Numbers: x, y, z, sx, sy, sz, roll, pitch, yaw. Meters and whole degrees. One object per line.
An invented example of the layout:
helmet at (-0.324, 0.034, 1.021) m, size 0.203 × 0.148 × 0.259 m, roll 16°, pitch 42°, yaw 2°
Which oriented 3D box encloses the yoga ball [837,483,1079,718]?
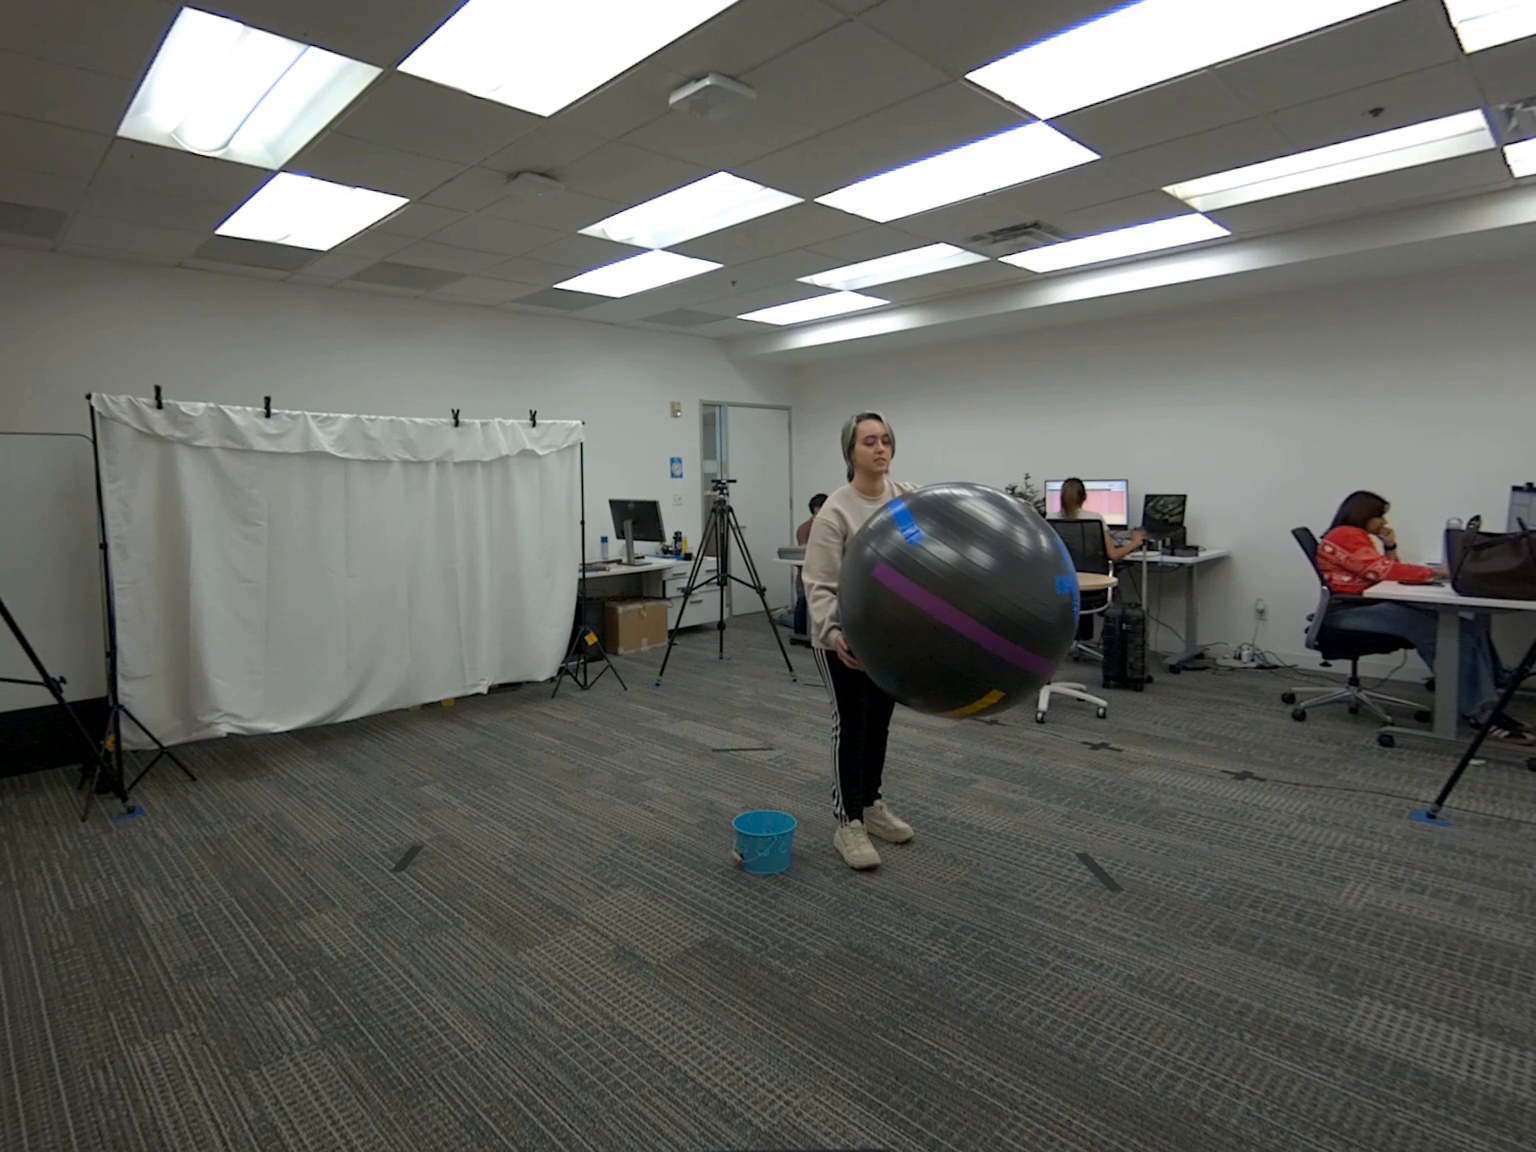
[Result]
yoga ball at (0.624, 0.087, 2.763) m, size 0.757 × 0.755 × 0.762 m, roll -1°, pitch 5°, yaw -2°
